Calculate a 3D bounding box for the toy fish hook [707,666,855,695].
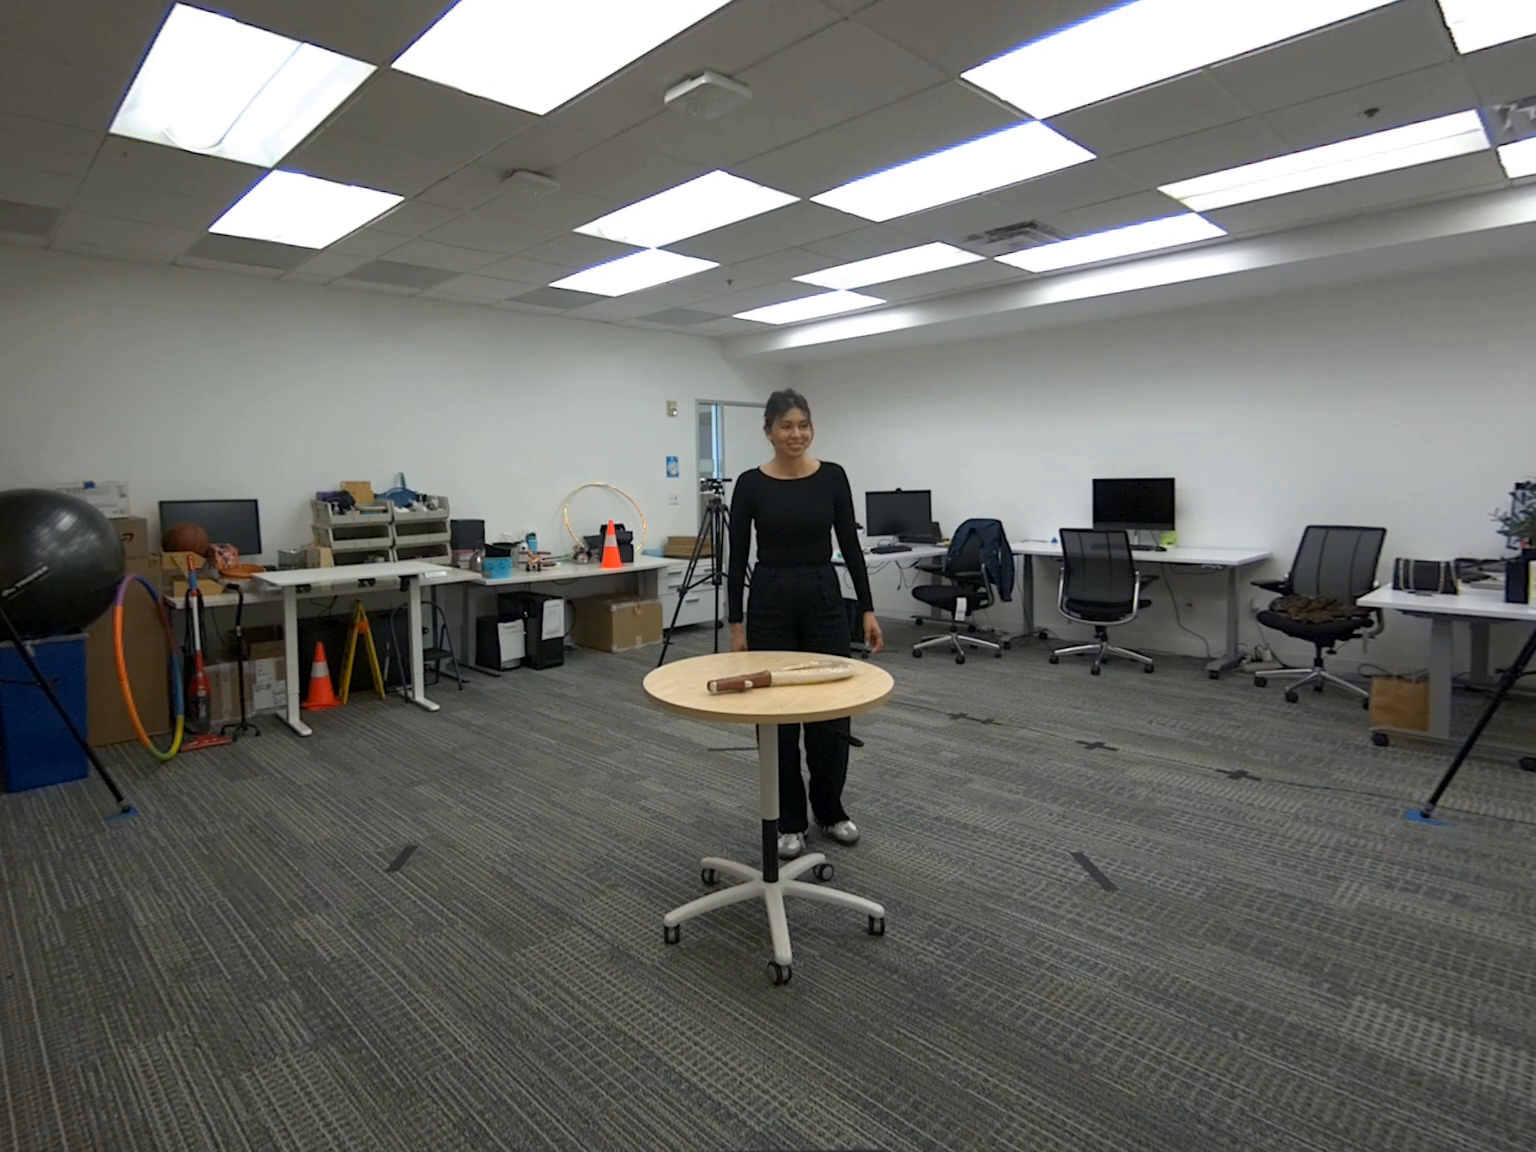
[{"bbox_3d":[0.031,0.309,2.604,0.496,0.048,0.229,-4,1,-26],"label":"toy fish hook"}]
